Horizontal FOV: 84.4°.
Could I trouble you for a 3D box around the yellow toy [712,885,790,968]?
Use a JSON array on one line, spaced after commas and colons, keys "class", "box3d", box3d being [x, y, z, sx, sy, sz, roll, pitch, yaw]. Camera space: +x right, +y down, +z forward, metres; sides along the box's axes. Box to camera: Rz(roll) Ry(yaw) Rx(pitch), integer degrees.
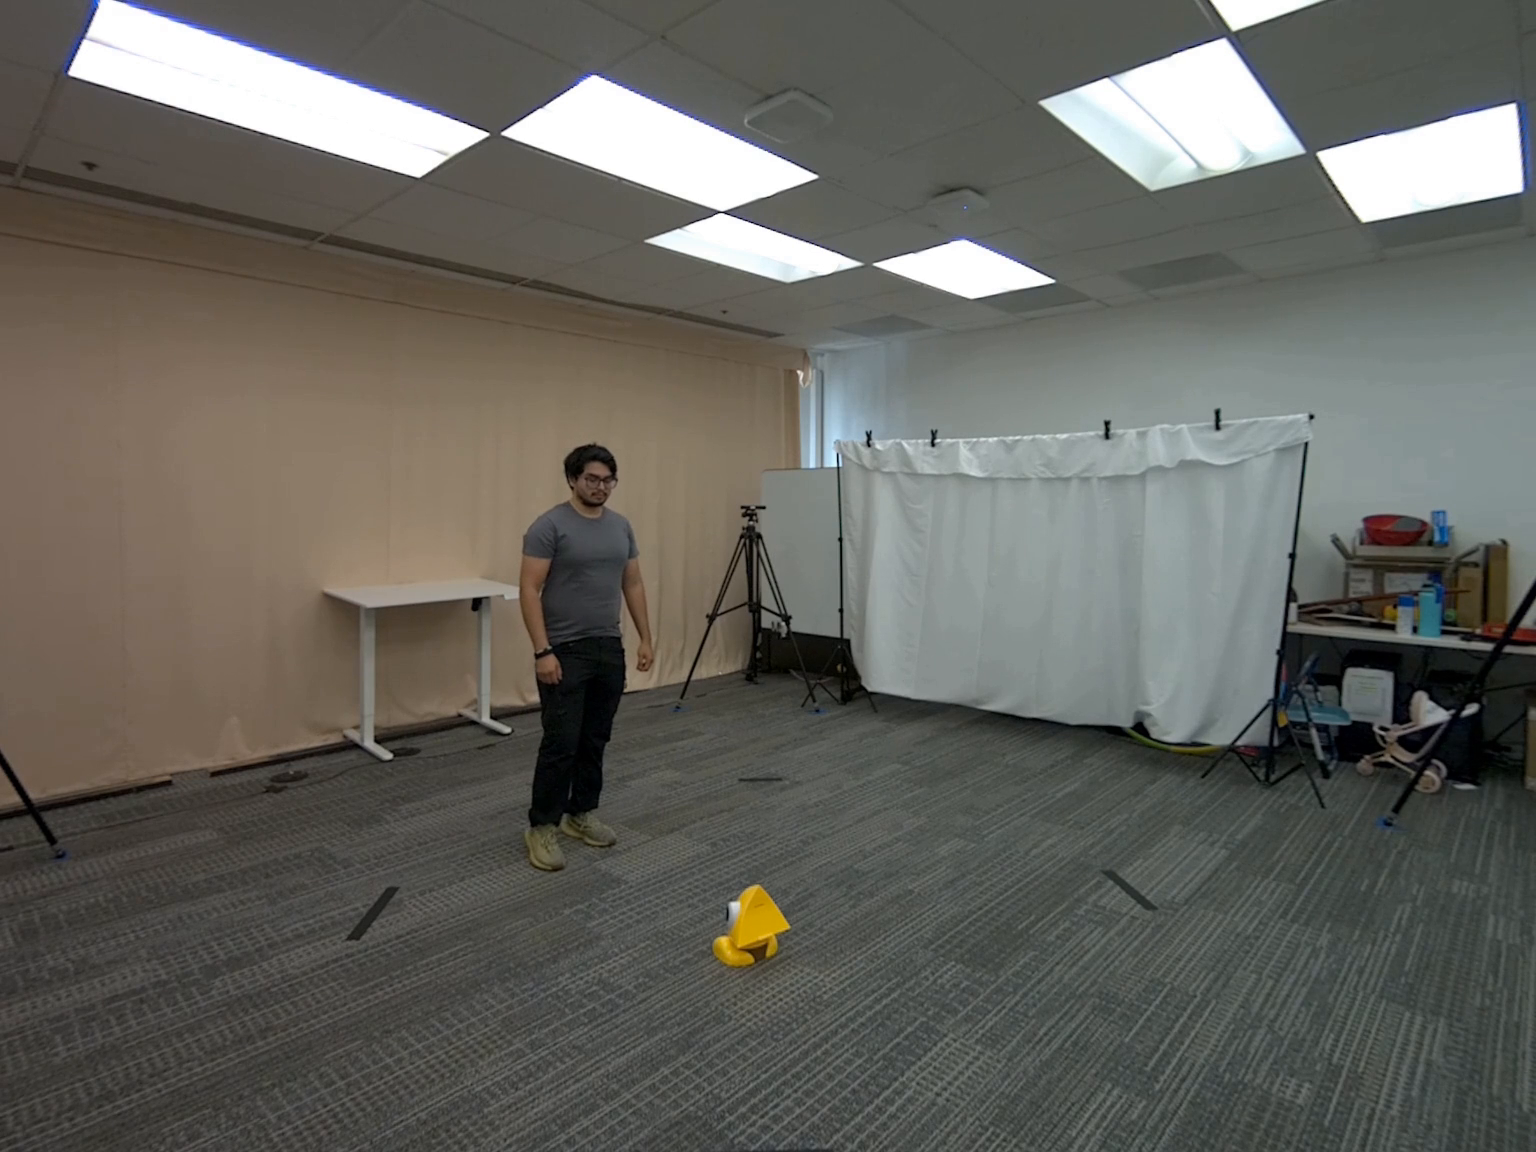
[{"class": "yellow toy", "box3d": [-0.062, 1.063, 2.627, 0.199, 0.230, 0.199, -2, 3, -37]}]
